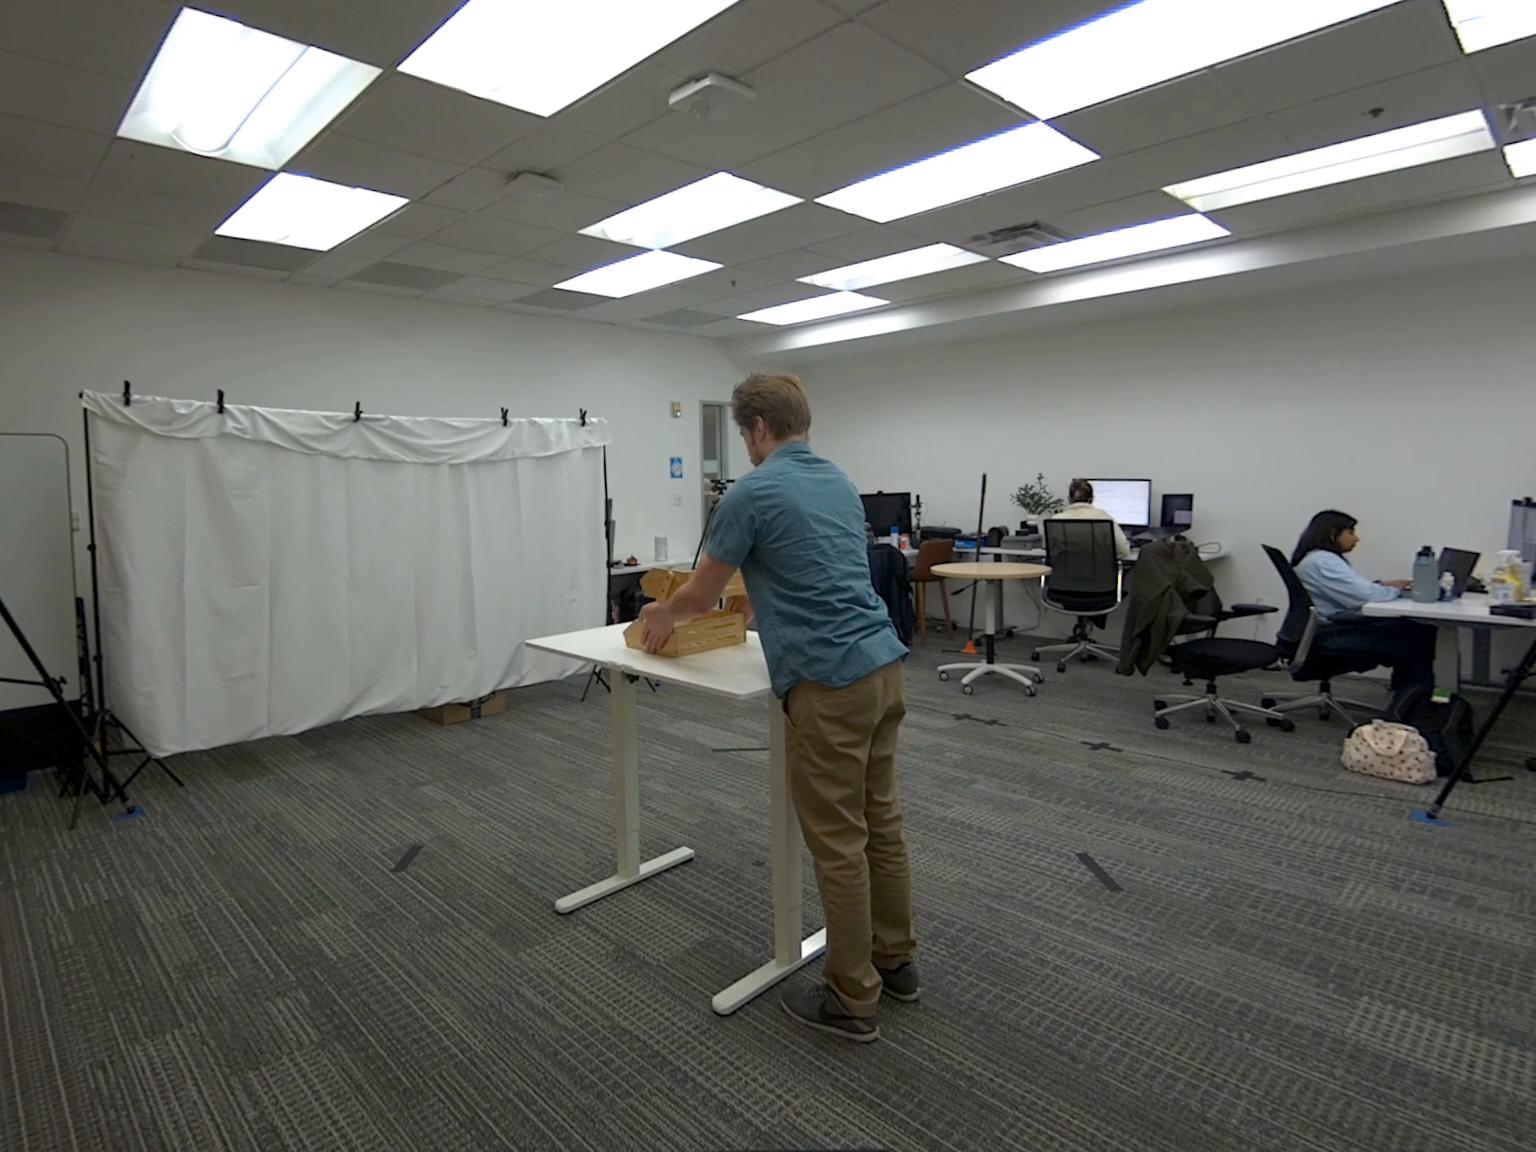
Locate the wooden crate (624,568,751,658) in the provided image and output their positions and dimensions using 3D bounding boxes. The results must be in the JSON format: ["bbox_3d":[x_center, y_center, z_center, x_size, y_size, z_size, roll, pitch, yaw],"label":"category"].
[{"bbox_3d":[-0.243,0.086,2.665,0.312,0.272,0.316,7,10,44],"label":"wooden crate"}]
